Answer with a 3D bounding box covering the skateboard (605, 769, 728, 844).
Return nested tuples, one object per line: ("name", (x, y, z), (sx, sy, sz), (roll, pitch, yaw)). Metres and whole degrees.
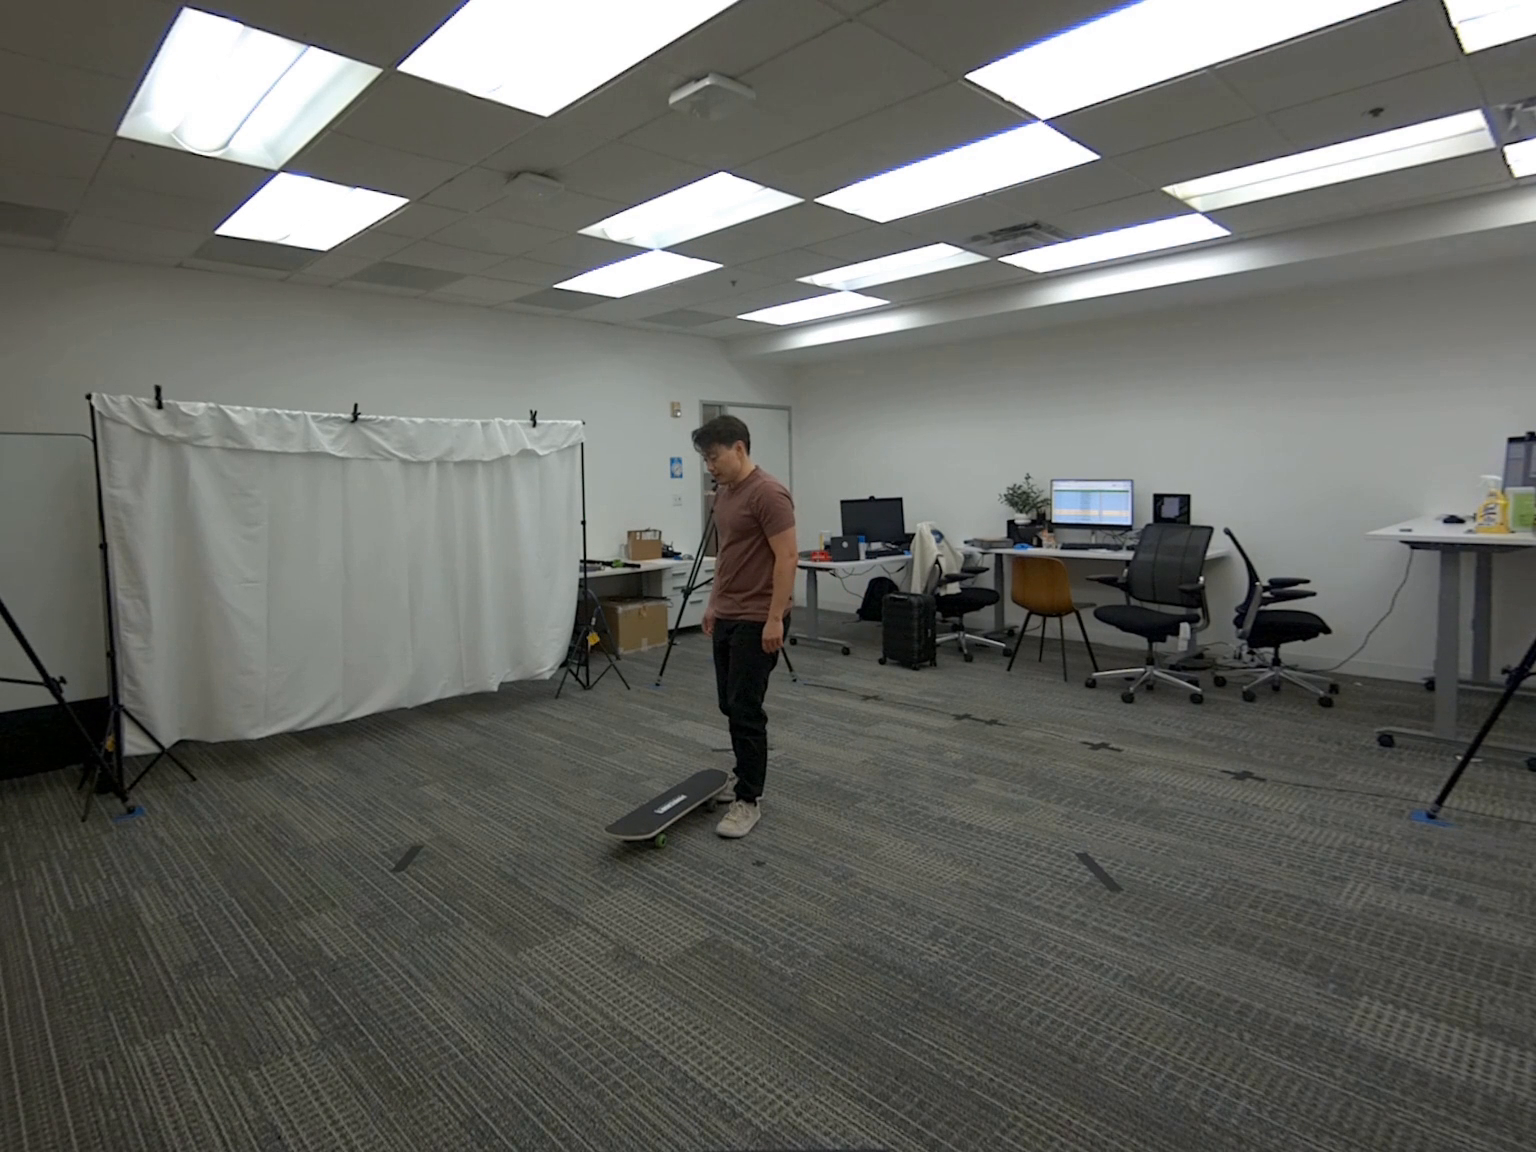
("skateboard", (-0.394, 0.954, 3.470), (0.198, 0.110, 0.770), (2, 6, 25))
